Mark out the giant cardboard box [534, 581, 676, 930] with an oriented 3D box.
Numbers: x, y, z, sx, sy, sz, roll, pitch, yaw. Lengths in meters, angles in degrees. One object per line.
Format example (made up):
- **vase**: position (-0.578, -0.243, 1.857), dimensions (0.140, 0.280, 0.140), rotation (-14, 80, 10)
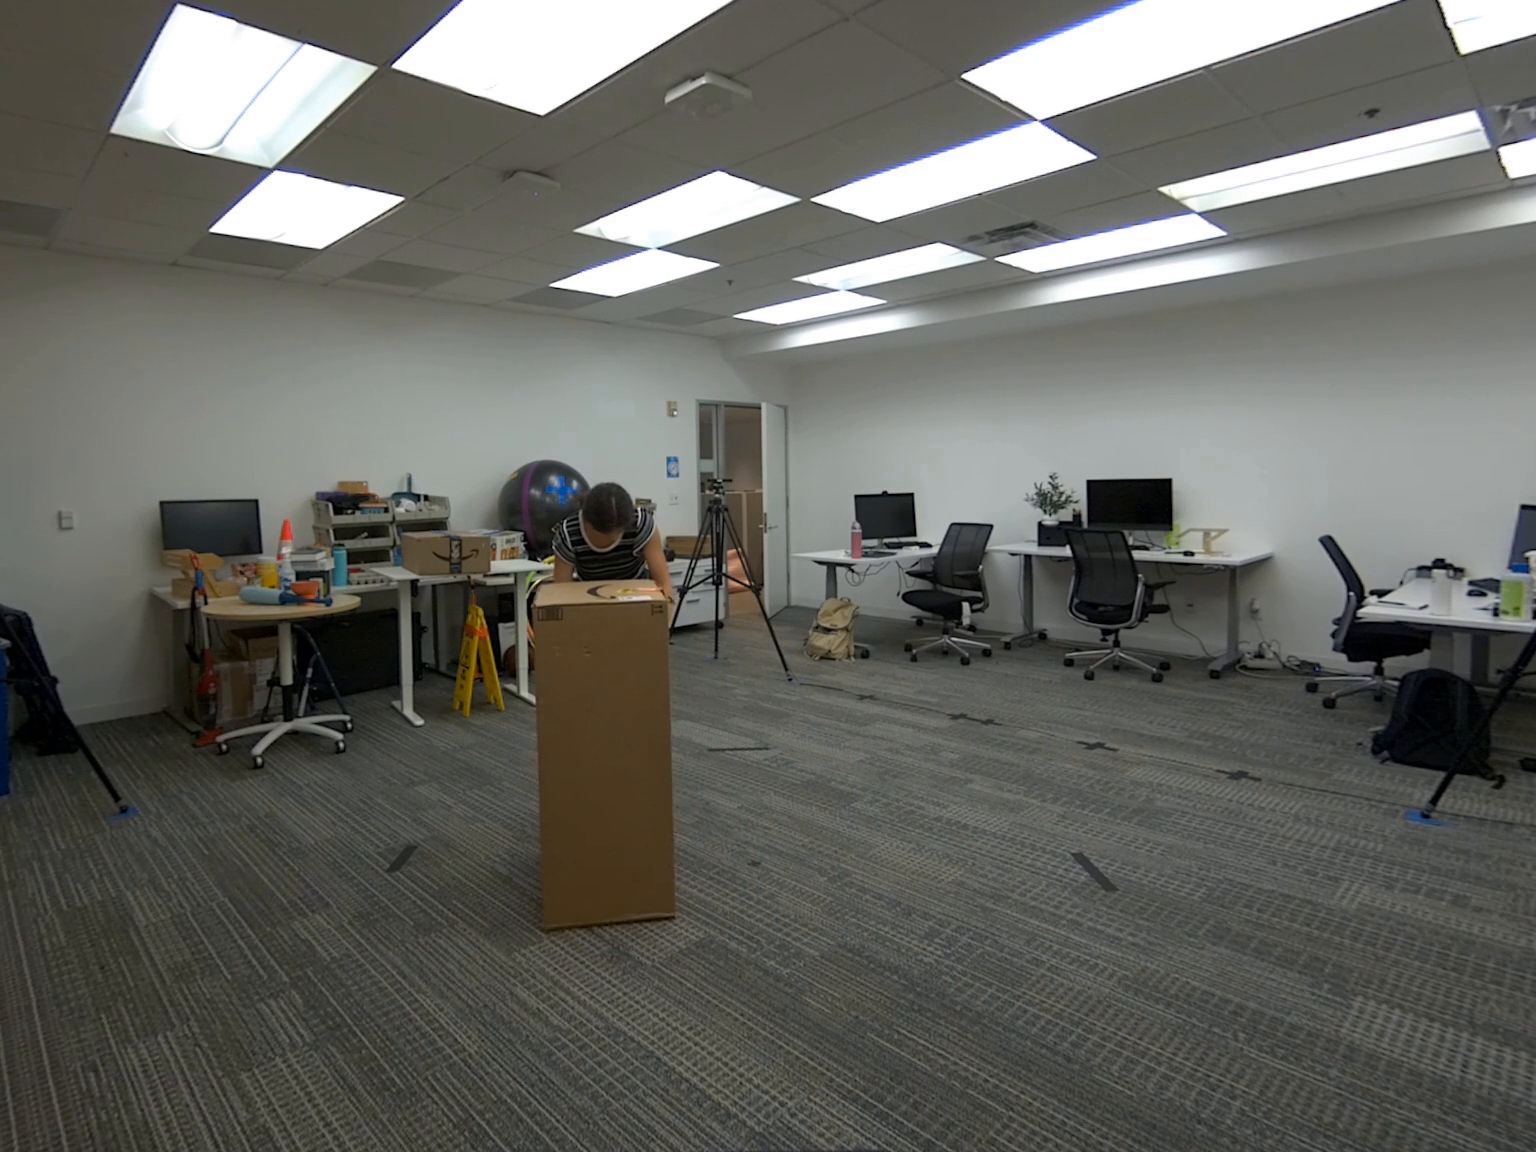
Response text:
- **giant cardboard box**: position (-0.566, 0.561, 2.942), dimensions (0.422, 1.022, 0.585), rotation (-2, 4, -12)
